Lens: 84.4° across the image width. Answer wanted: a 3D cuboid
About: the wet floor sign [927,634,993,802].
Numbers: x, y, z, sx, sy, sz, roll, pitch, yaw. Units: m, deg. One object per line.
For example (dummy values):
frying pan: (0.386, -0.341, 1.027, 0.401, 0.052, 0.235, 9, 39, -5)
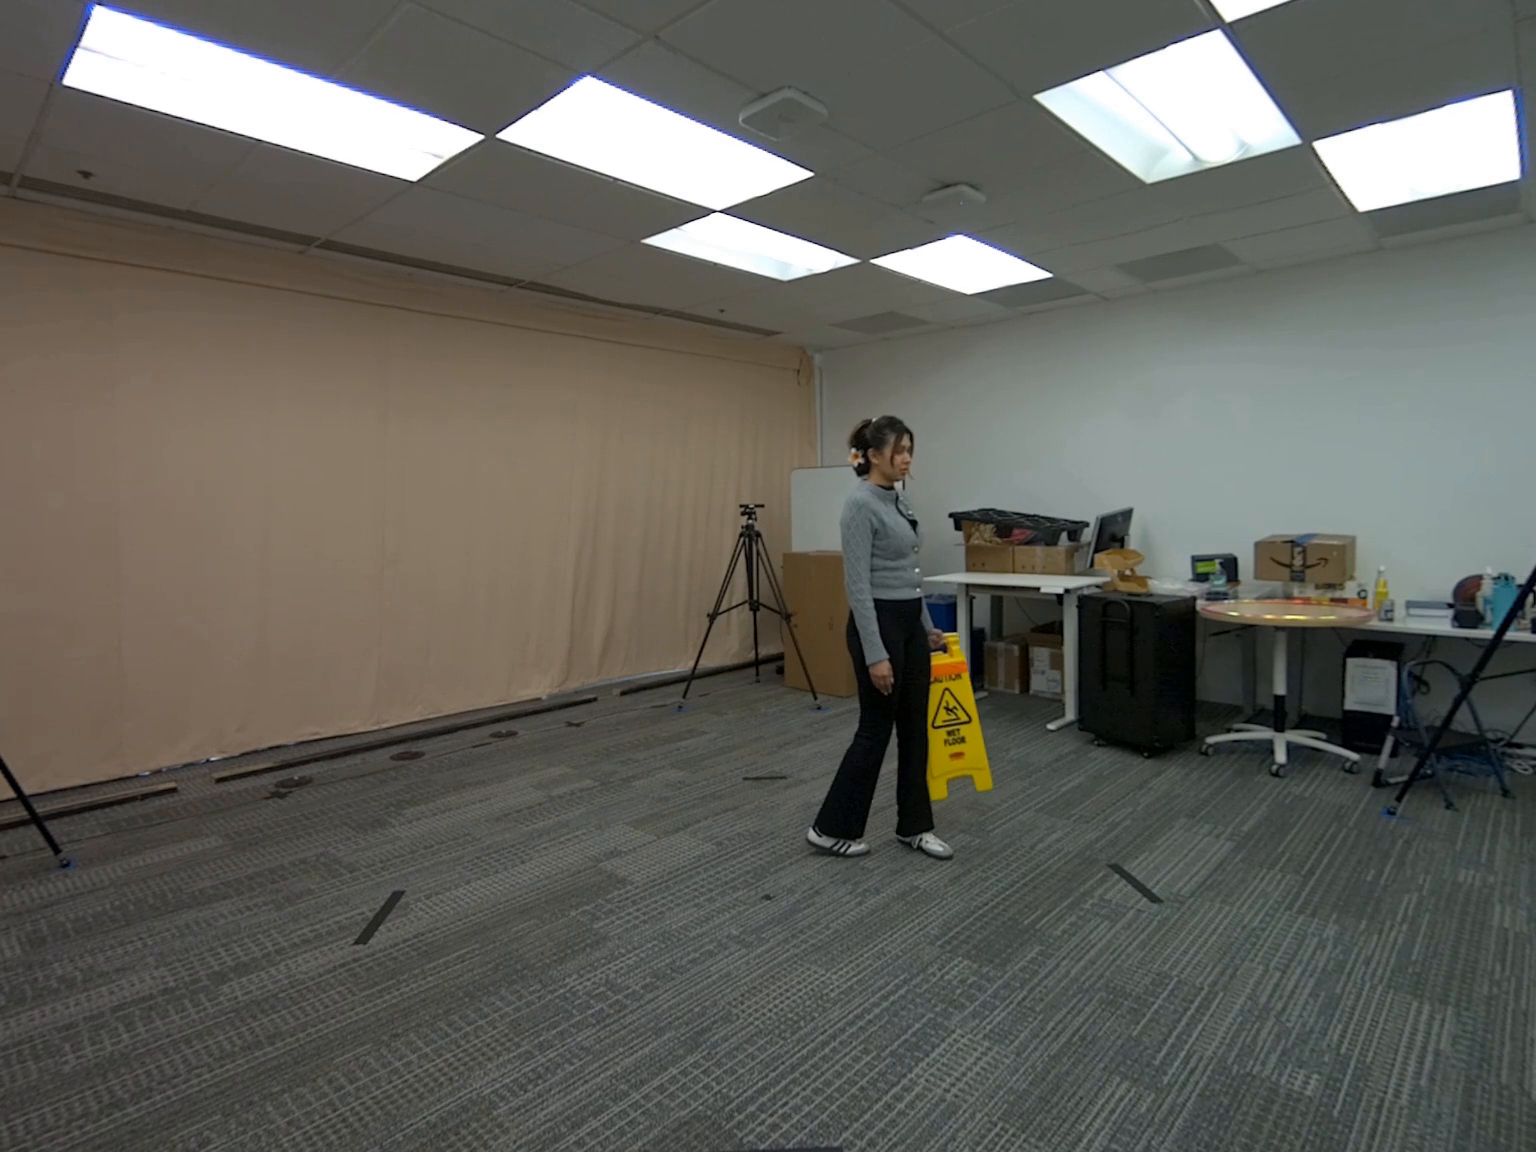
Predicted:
wet floor sign: (0.735, 0.568, 3.573, 0.279, 0.641, 0.295, -9, 10, -11)
